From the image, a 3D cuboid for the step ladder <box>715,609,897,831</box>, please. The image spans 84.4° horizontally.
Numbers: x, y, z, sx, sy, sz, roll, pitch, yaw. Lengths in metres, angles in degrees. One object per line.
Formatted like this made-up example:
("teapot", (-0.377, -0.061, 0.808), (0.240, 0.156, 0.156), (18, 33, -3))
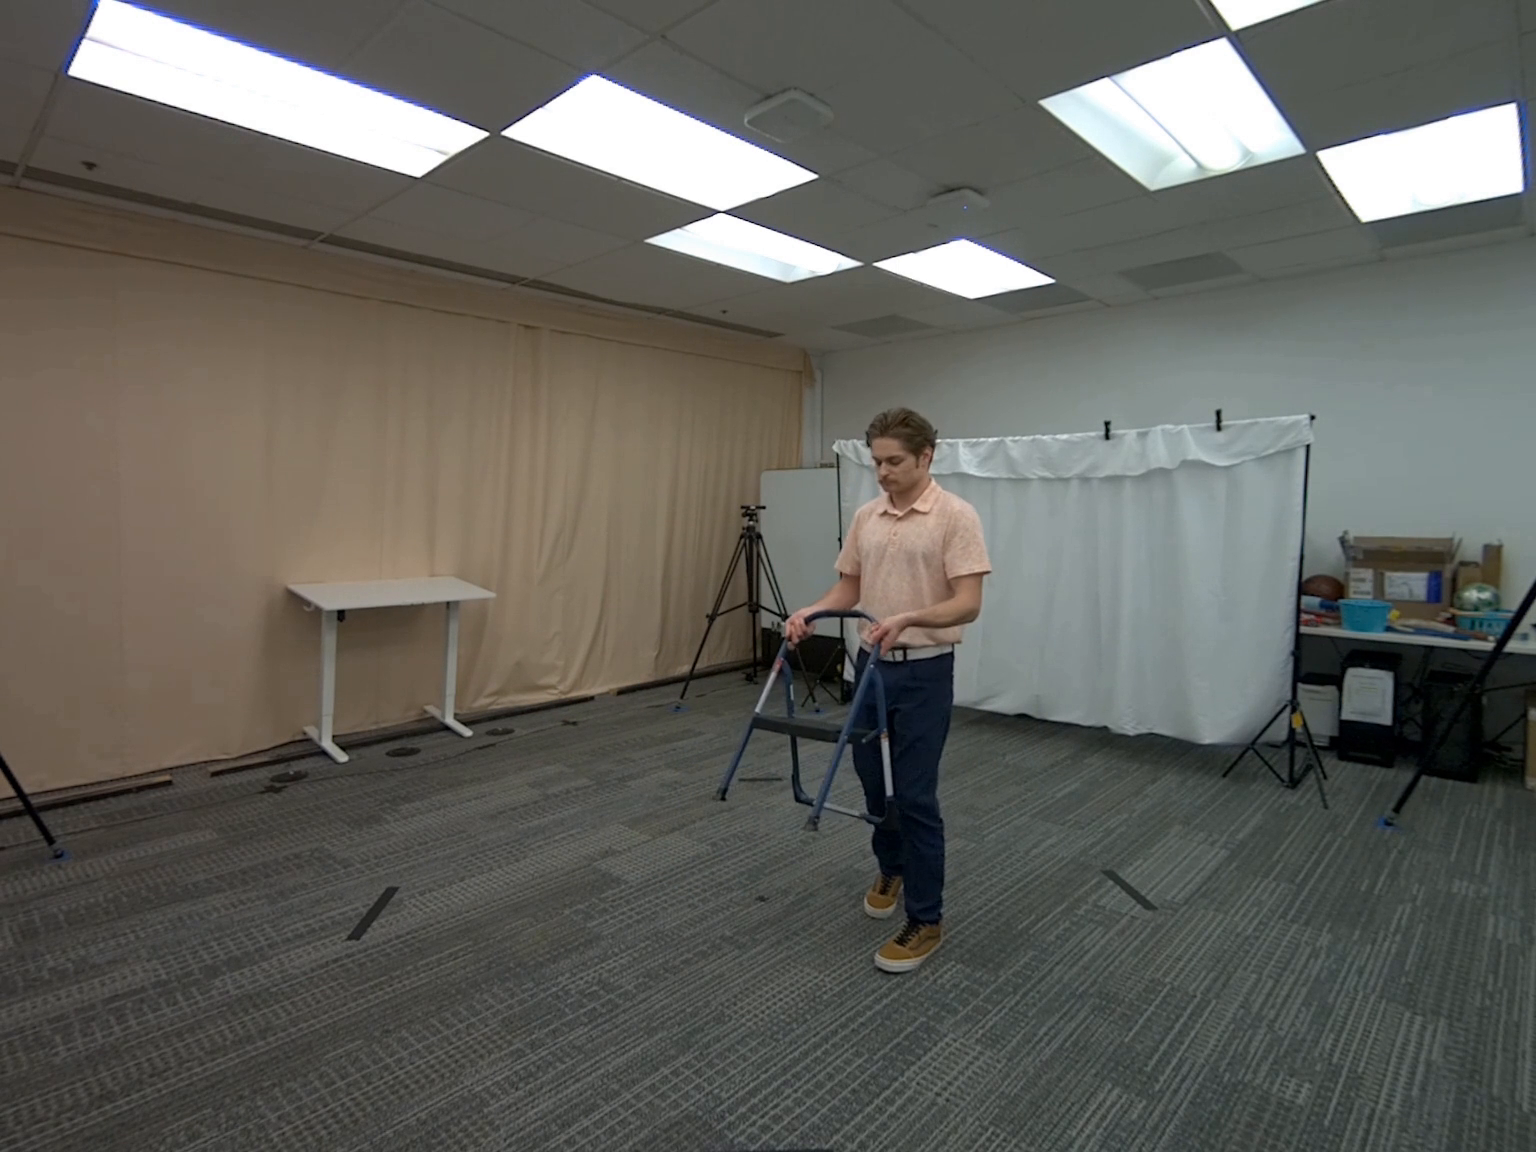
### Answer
("step ladder", (0.143, 0.394, 2.477), (0.337, 0.608, 0.444), (14, -11, -39))
